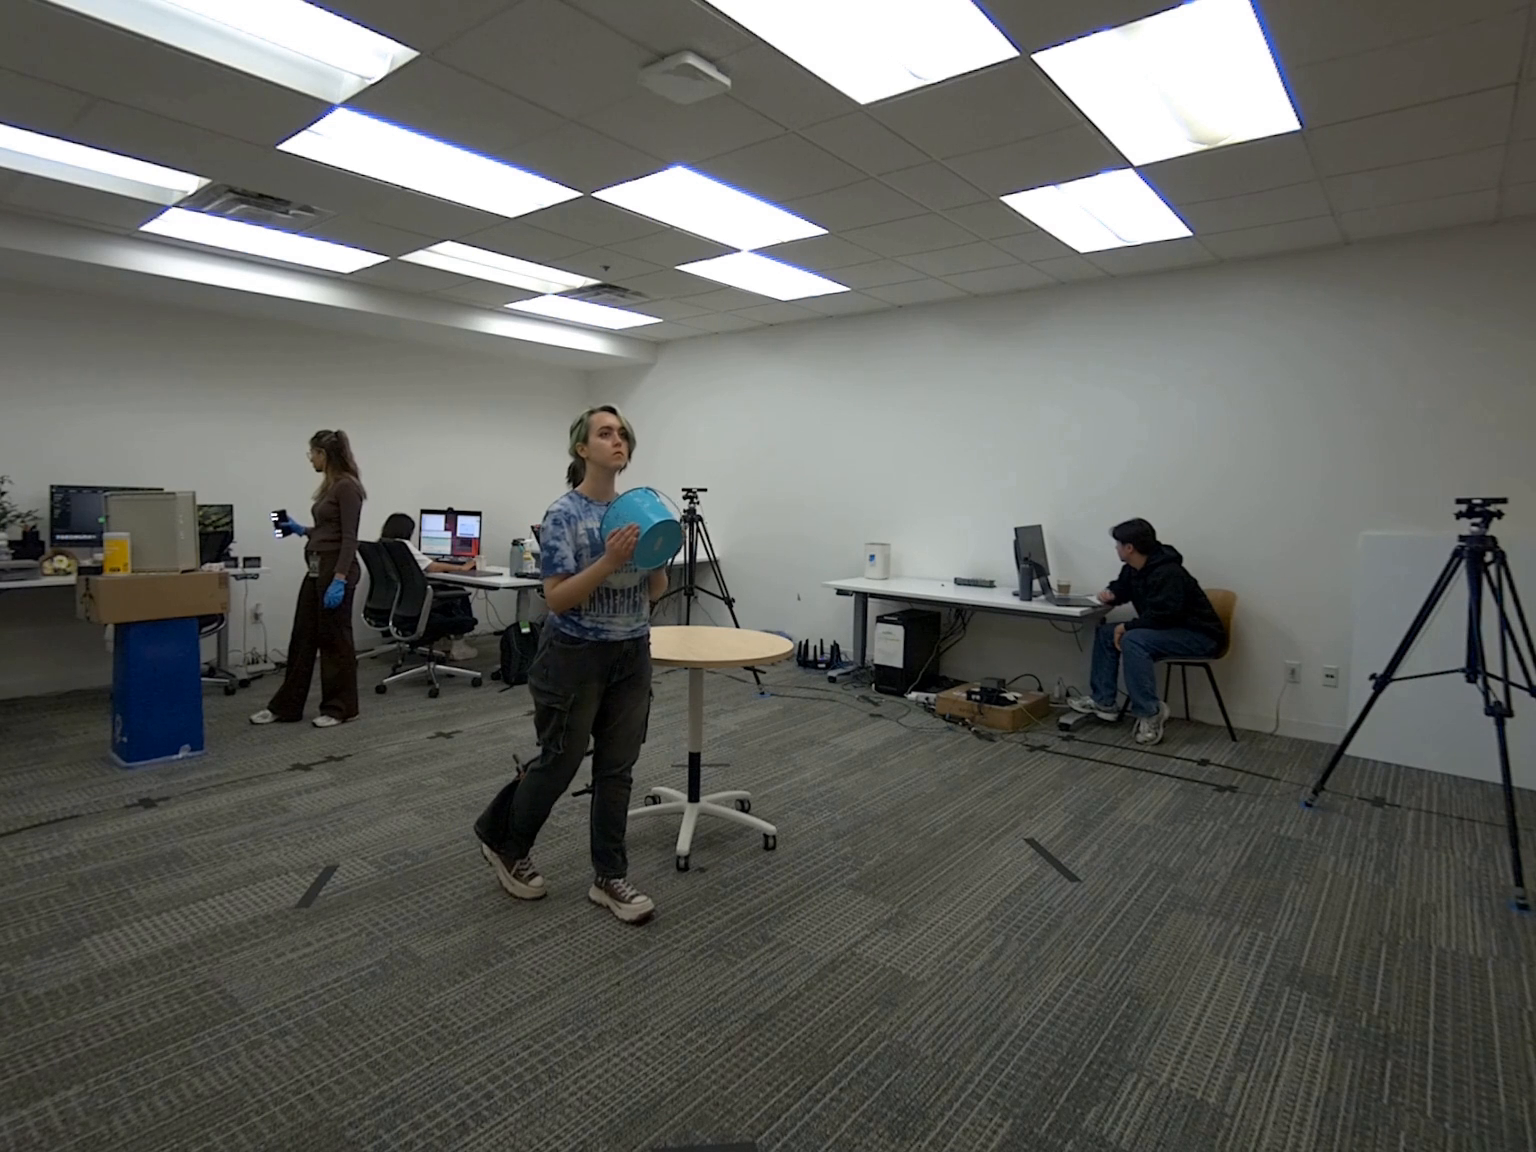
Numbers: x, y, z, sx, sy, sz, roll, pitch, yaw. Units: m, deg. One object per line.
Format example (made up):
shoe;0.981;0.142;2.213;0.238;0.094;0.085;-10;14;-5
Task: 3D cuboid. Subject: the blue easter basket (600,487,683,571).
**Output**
blue easter basket;-0.397;-0.140;2.609;0.236;0.241;0.162;-4;36;-48
